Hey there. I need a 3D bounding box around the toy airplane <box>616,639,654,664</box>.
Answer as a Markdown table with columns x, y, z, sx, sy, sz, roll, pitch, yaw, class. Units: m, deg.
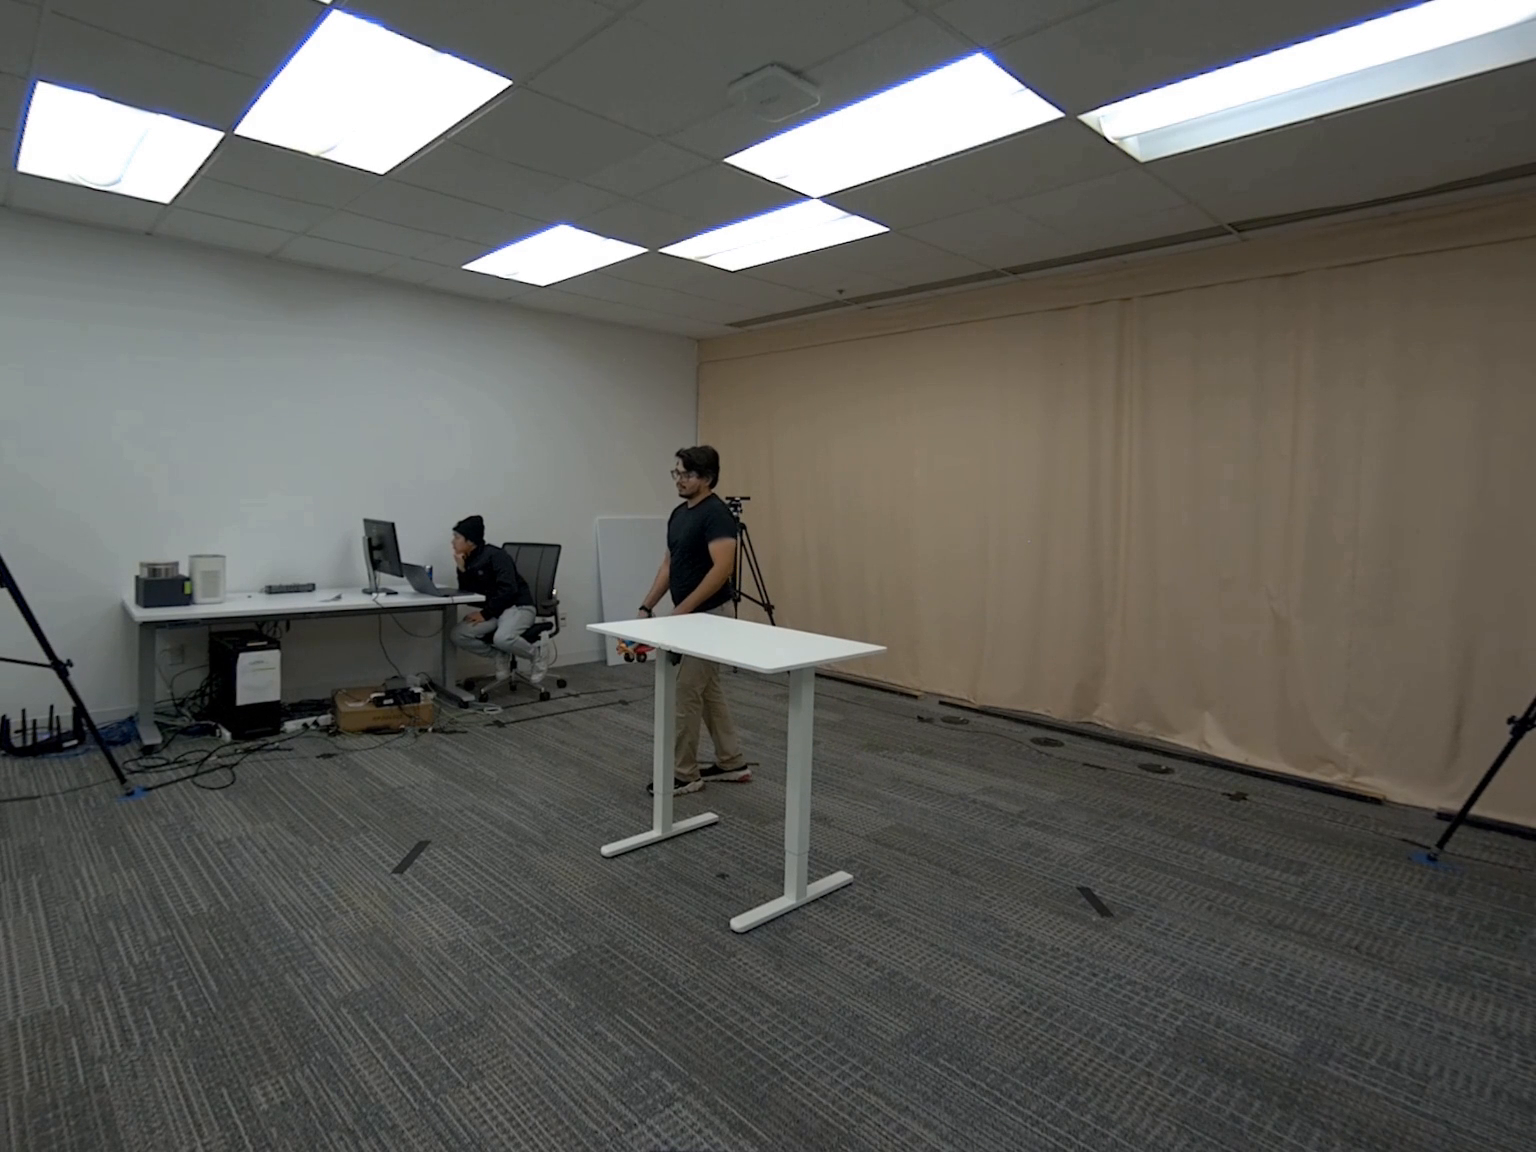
| x | y | z | sx | sy | sz | roll | pitch | yaw | class |
| --- | --- | --- | --- | --- | --- | --- | --- | --- | --- |
| -0.647 | 0.318 | 4.157 | 0.252 | 0.153 | 0.262 | -14 | 22 | 8 | toy airplane |
